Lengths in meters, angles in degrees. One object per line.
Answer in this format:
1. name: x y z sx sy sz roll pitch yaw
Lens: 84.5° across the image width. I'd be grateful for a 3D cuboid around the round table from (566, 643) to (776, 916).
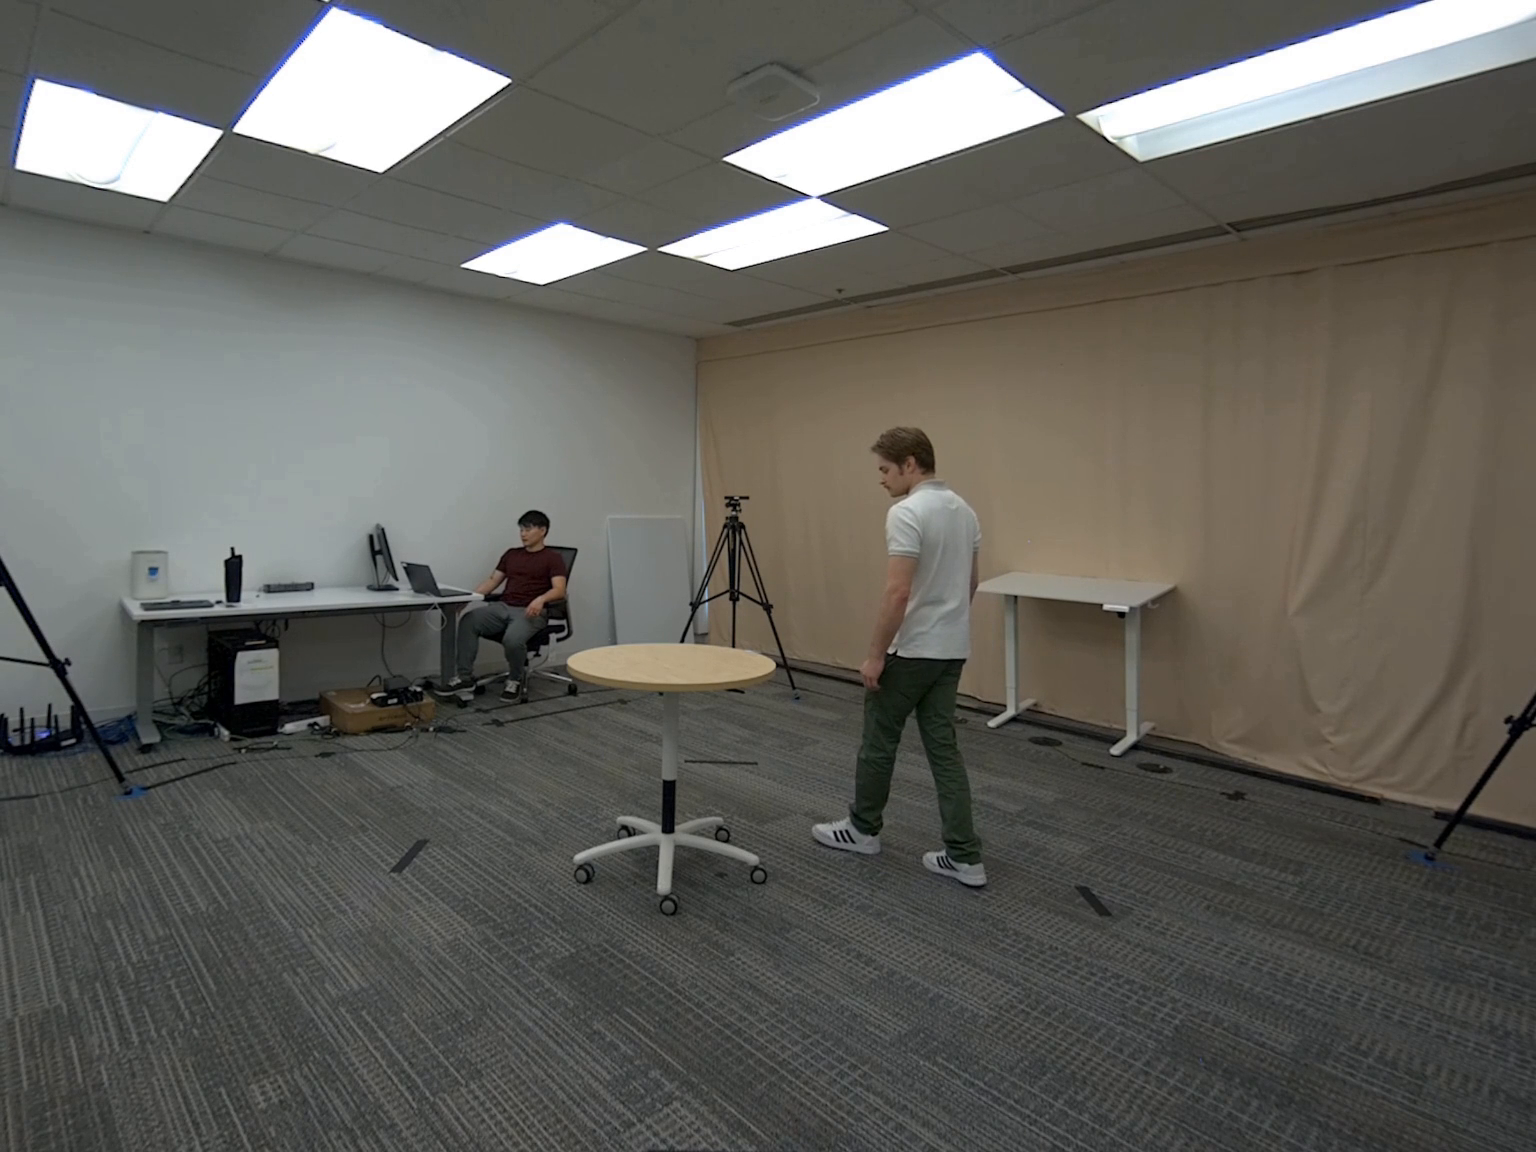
1. round table: -0.370 0.710 3.122 0.763 0.792 0.766 2 4 -1
